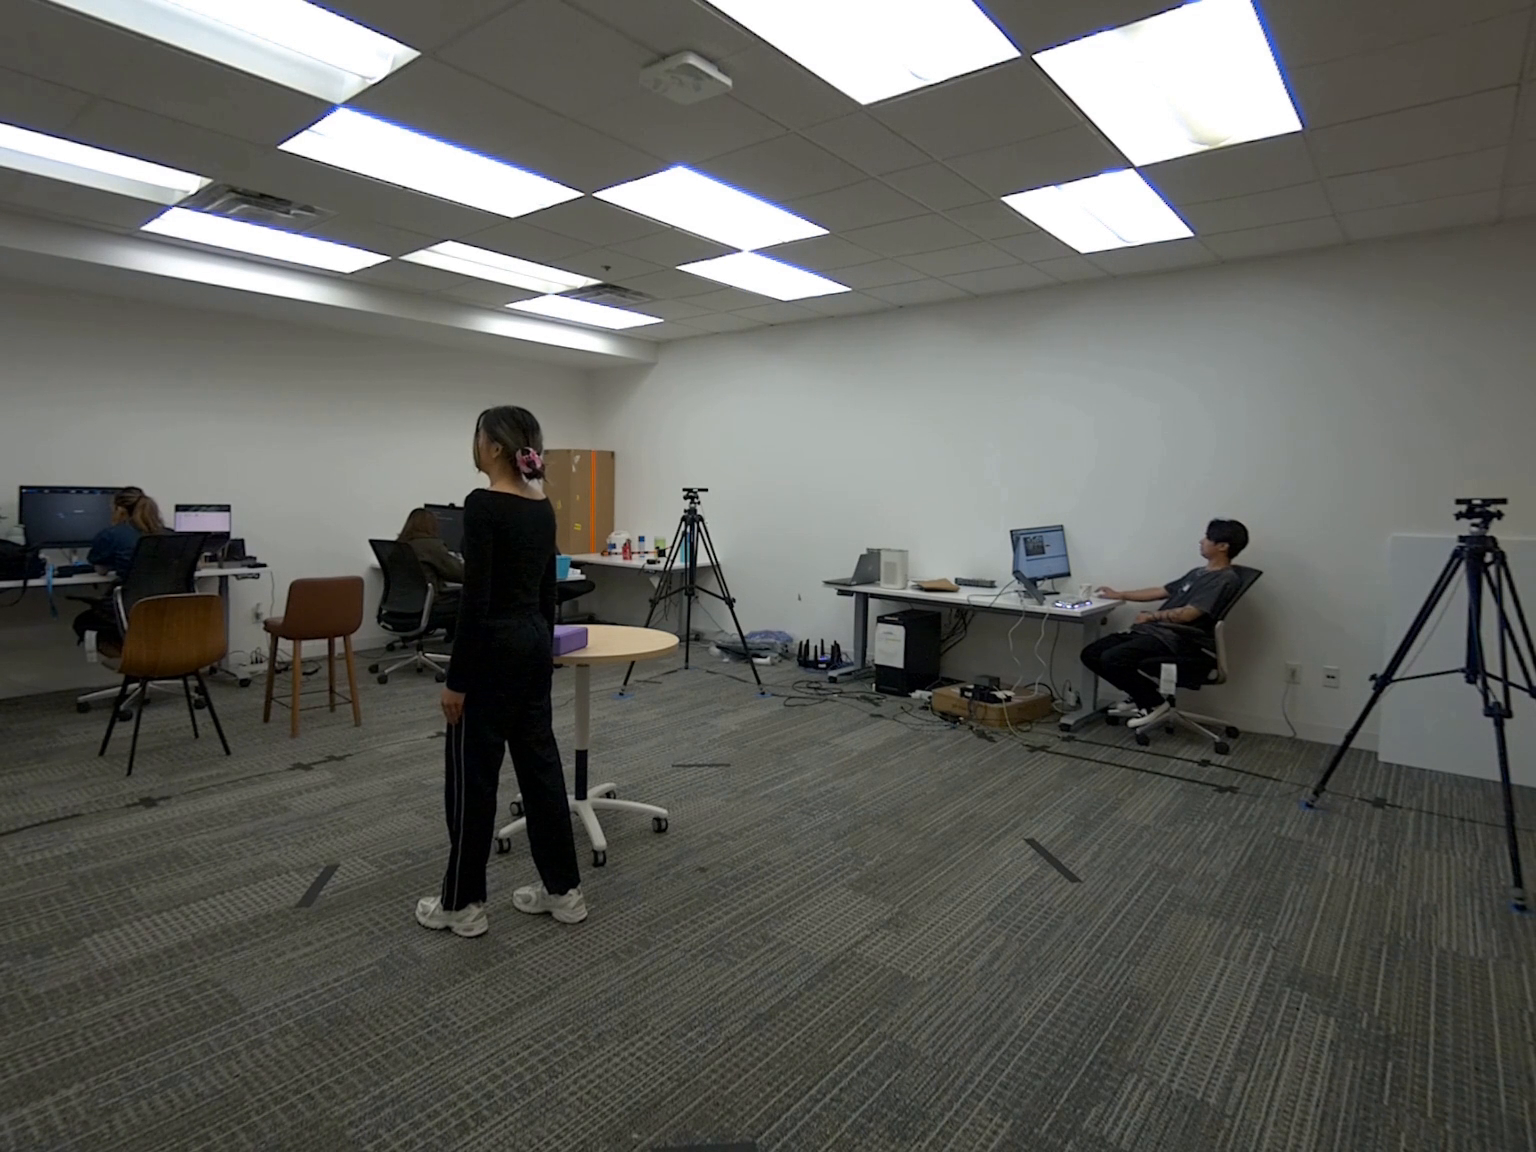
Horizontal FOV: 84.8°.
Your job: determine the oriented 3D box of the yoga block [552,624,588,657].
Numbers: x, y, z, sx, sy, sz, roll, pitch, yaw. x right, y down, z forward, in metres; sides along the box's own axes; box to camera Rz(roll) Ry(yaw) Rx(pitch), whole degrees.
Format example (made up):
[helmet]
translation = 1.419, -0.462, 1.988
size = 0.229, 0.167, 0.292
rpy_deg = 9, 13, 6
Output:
[yoga block]
translation = -0.797, 0.235, 3.132
size = 0.152, 0.076, 0.225
rpy_deg = 1, 4, 18
